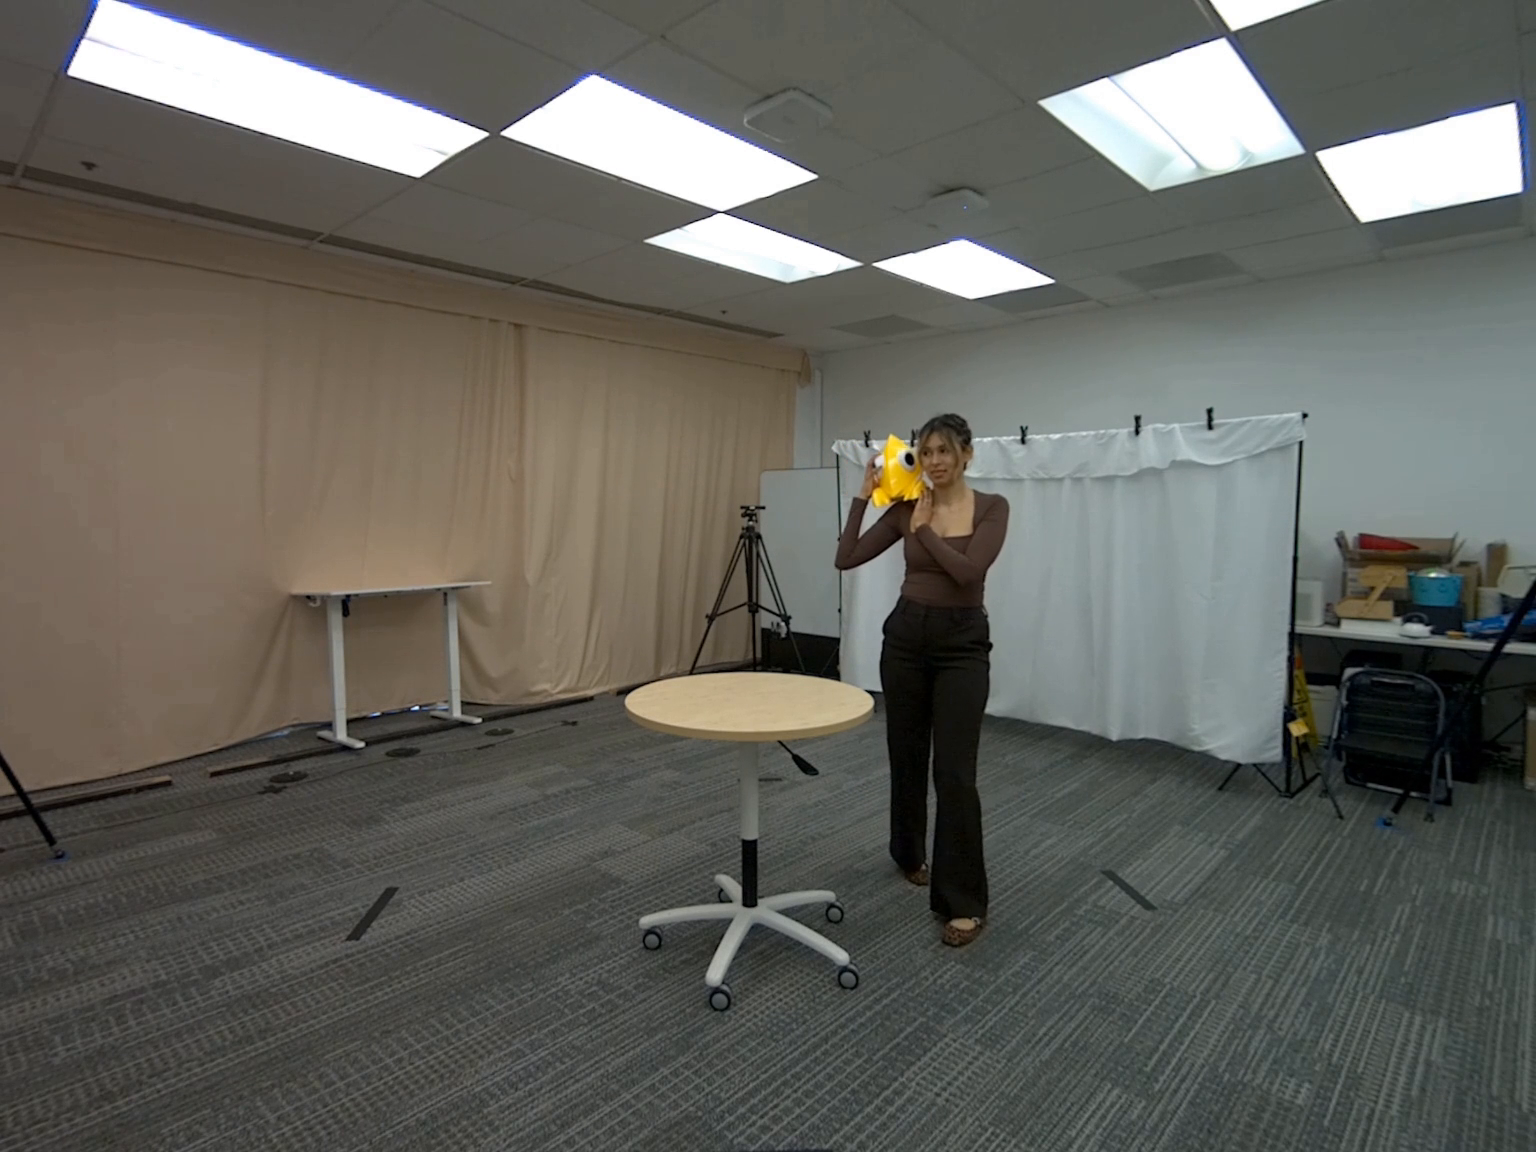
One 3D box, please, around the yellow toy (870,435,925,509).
[{"bbox_3d":[0.460,-0.387,3.010,0.209,0.229,0.190,-12,10,27],"label":"yellow toy"}]
